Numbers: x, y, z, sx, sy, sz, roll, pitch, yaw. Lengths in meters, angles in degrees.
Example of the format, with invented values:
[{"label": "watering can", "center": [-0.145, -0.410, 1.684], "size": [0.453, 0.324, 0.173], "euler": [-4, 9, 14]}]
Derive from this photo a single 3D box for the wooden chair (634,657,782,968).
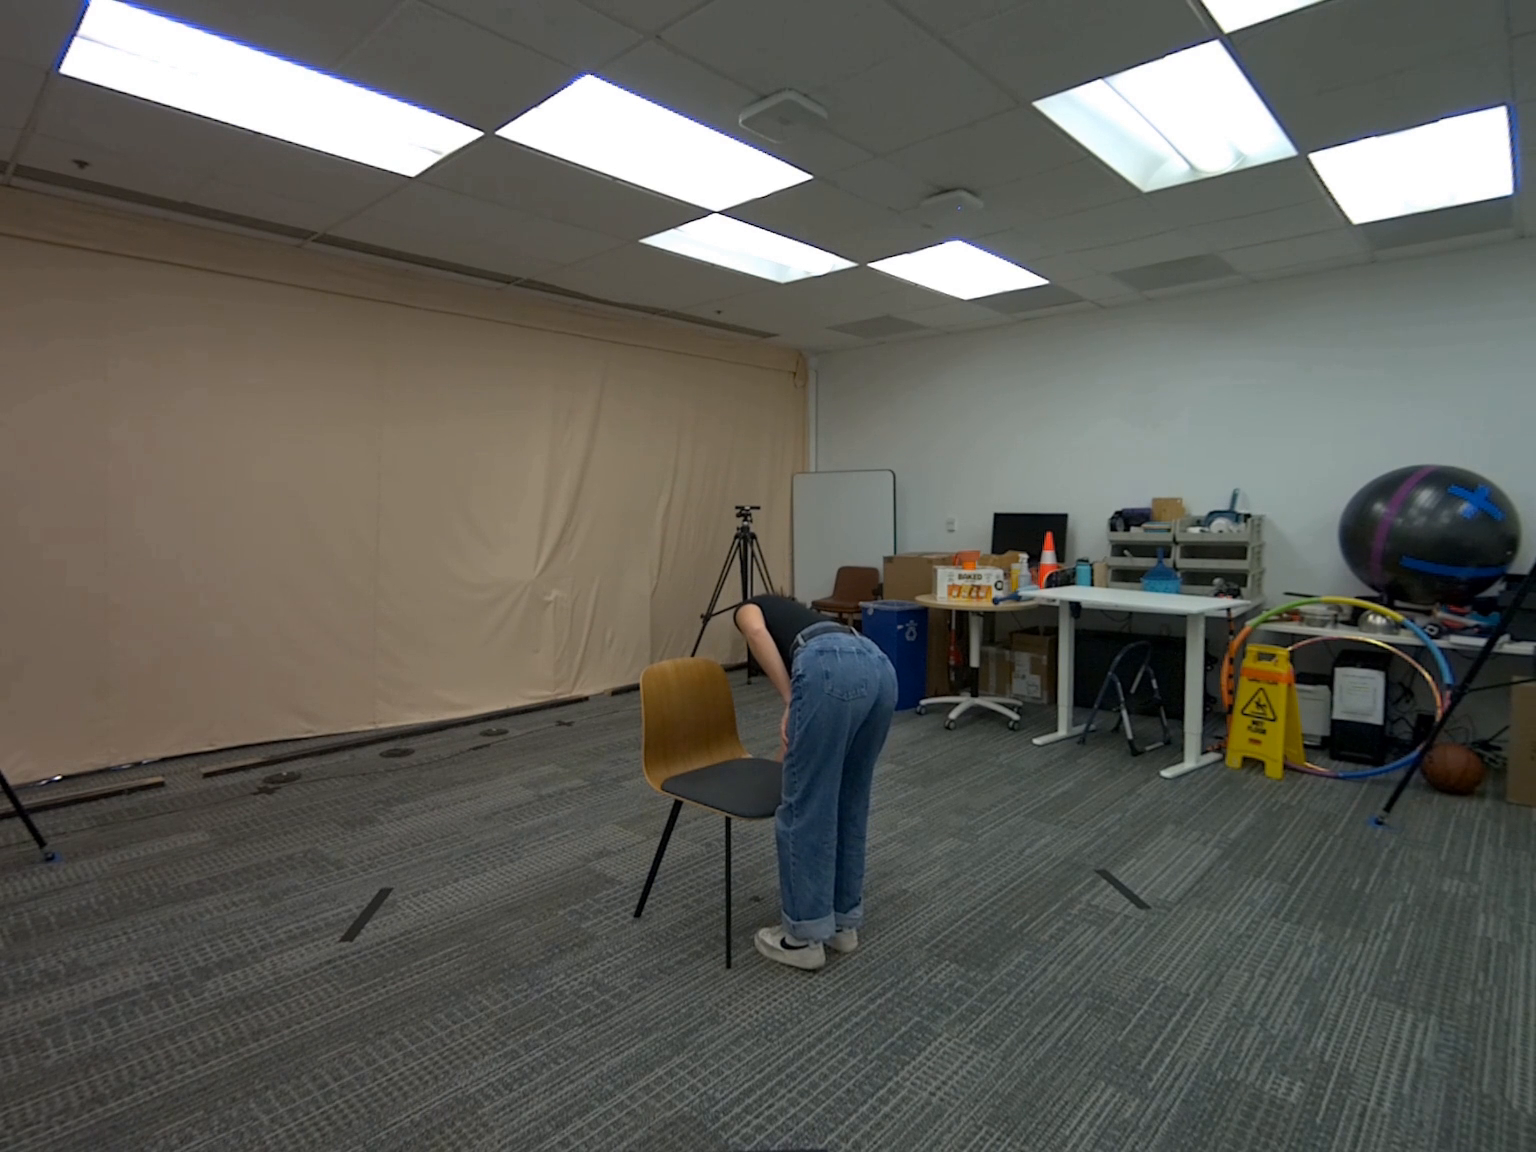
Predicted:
[{"label": "wooden chair", "center": [-0.132, 0.734, 2.814], "size": [0.540, 0.877, 0.463], "euler": [-2, 1, 44]}]
